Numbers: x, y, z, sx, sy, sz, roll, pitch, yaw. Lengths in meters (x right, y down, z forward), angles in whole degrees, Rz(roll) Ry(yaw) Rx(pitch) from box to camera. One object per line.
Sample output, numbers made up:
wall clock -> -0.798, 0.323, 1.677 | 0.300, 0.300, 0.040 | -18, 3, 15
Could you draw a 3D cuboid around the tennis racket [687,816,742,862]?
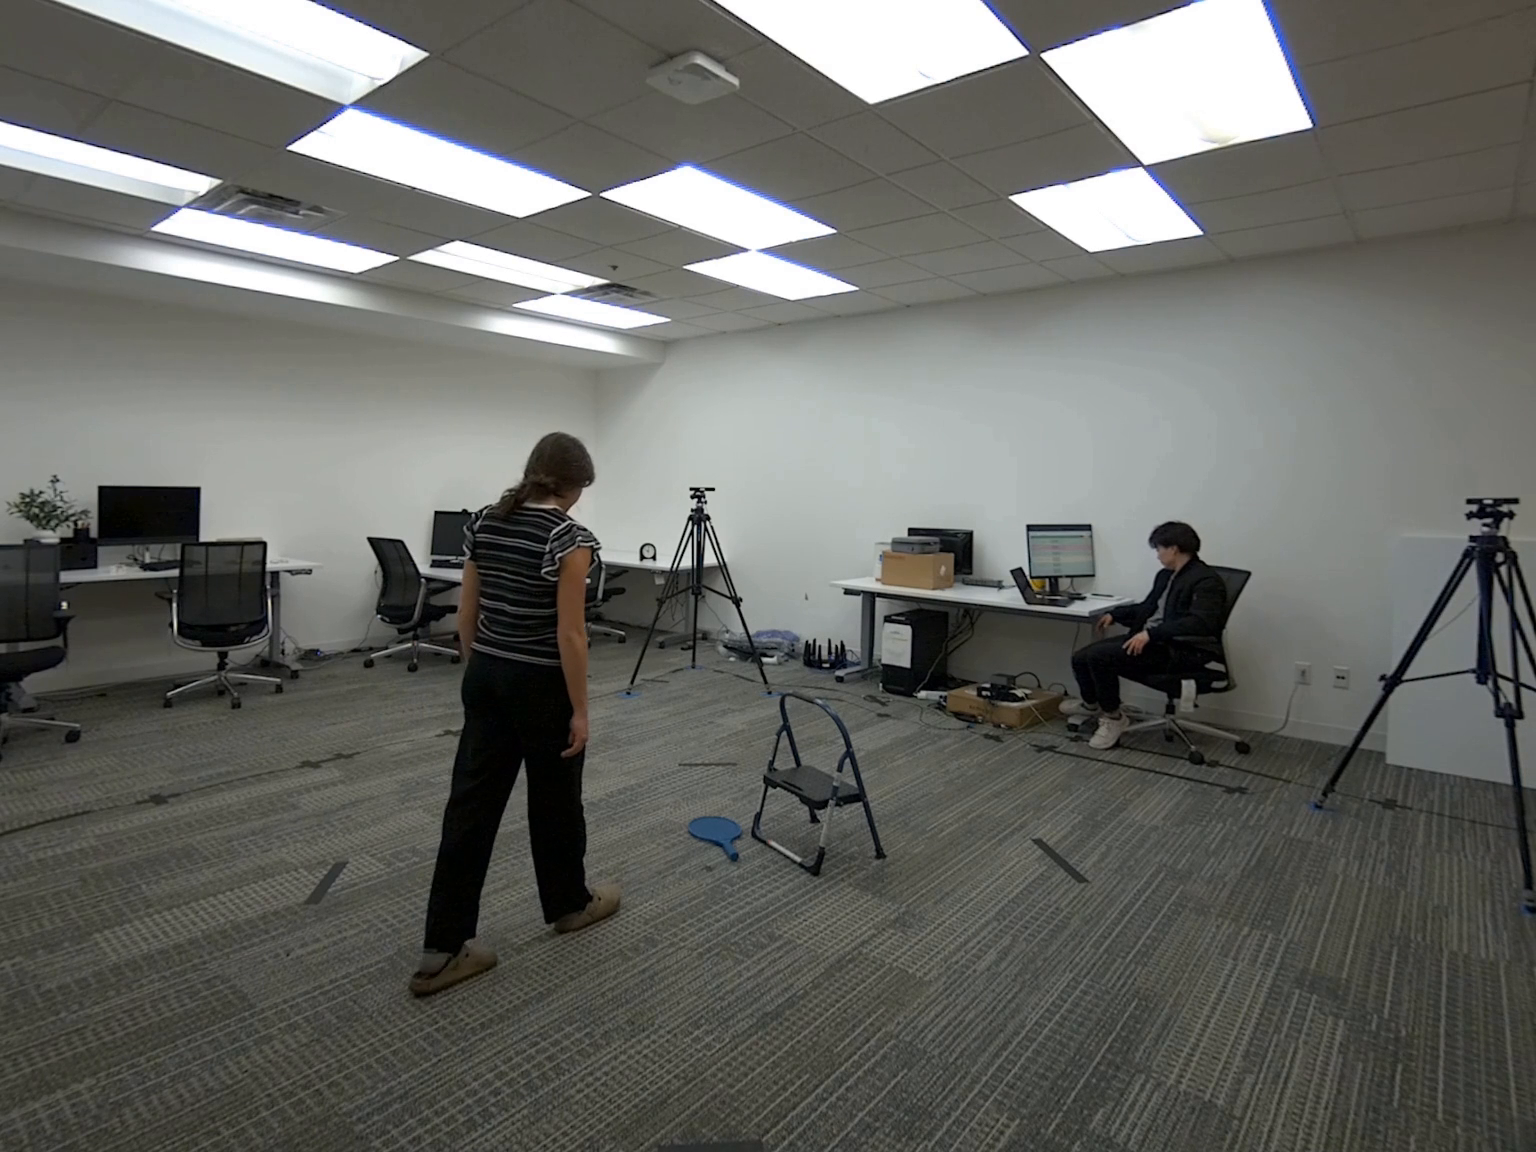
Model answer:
tennis racket -> -0.205, 1.027, 3.380 | 0.210, 0.031, 0.441 | -2, 5, -16
